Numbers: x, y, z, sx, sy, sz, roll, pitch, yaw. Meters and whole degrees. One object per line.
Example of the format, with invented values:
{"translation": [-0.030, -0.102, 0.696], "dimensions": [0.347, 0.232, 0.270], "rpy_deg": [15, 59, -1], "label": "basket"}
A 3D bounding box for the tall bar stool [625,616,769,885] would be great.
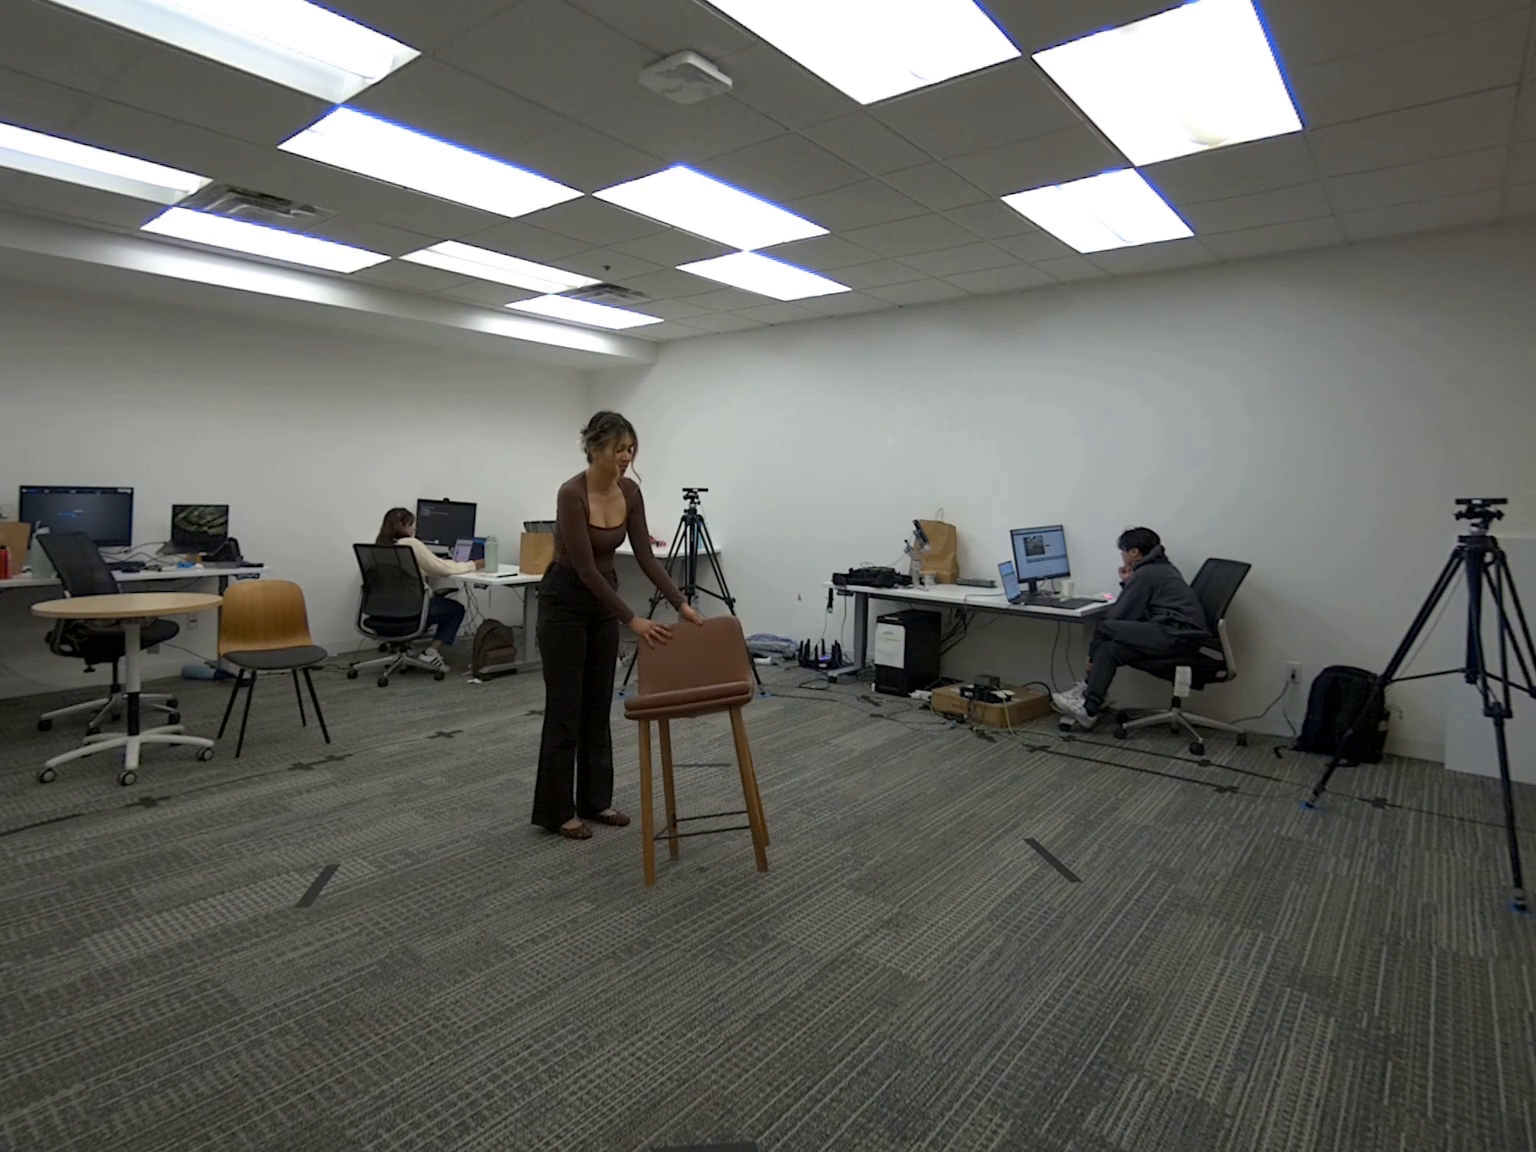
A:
{"translation": [-0.264, 0.585, 3.063], "dimensions": [0.459, 0.901, 0.459], "rpy_deg": [-9, -11, 5], "label": "tall bar stool"}
